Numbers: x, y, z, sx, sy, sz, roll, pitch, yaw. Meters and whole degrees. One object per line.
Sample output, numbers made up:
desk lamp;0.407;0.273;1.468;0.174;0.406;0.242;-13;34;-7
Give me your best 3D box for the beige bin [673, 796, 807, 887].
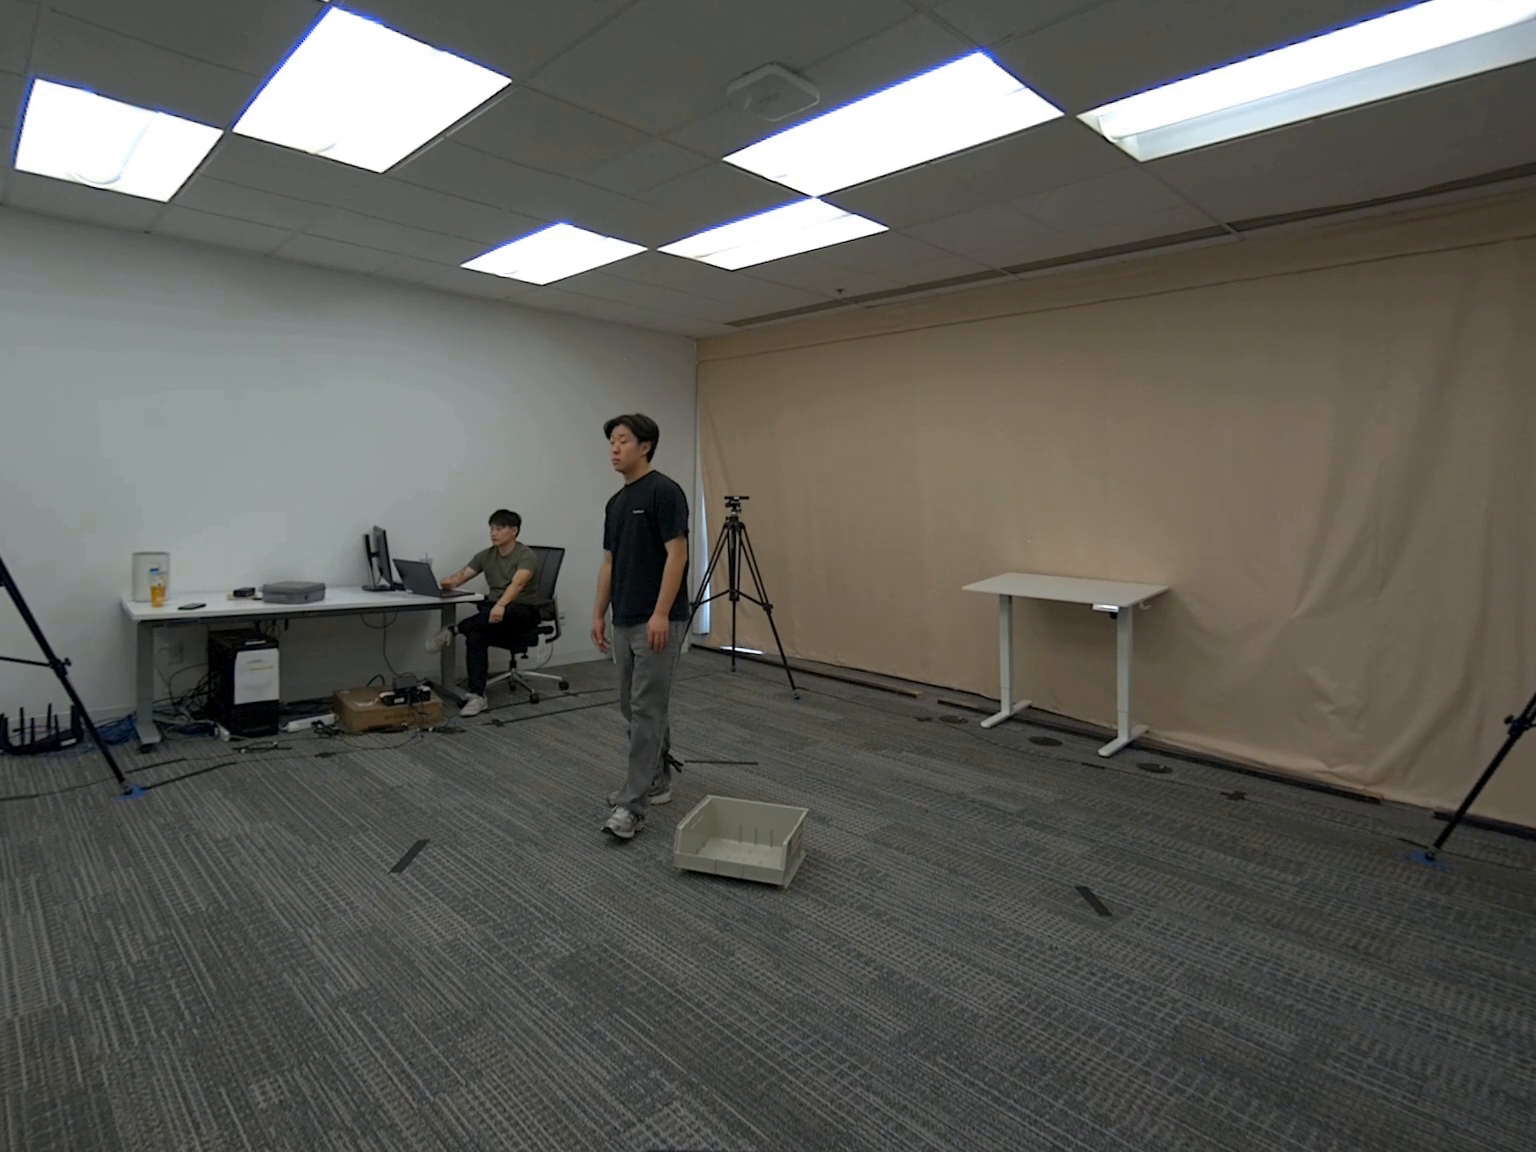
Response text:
beige bin;-0.098;1.009;3.188;0.428;0.188;0.373;2;4;16
